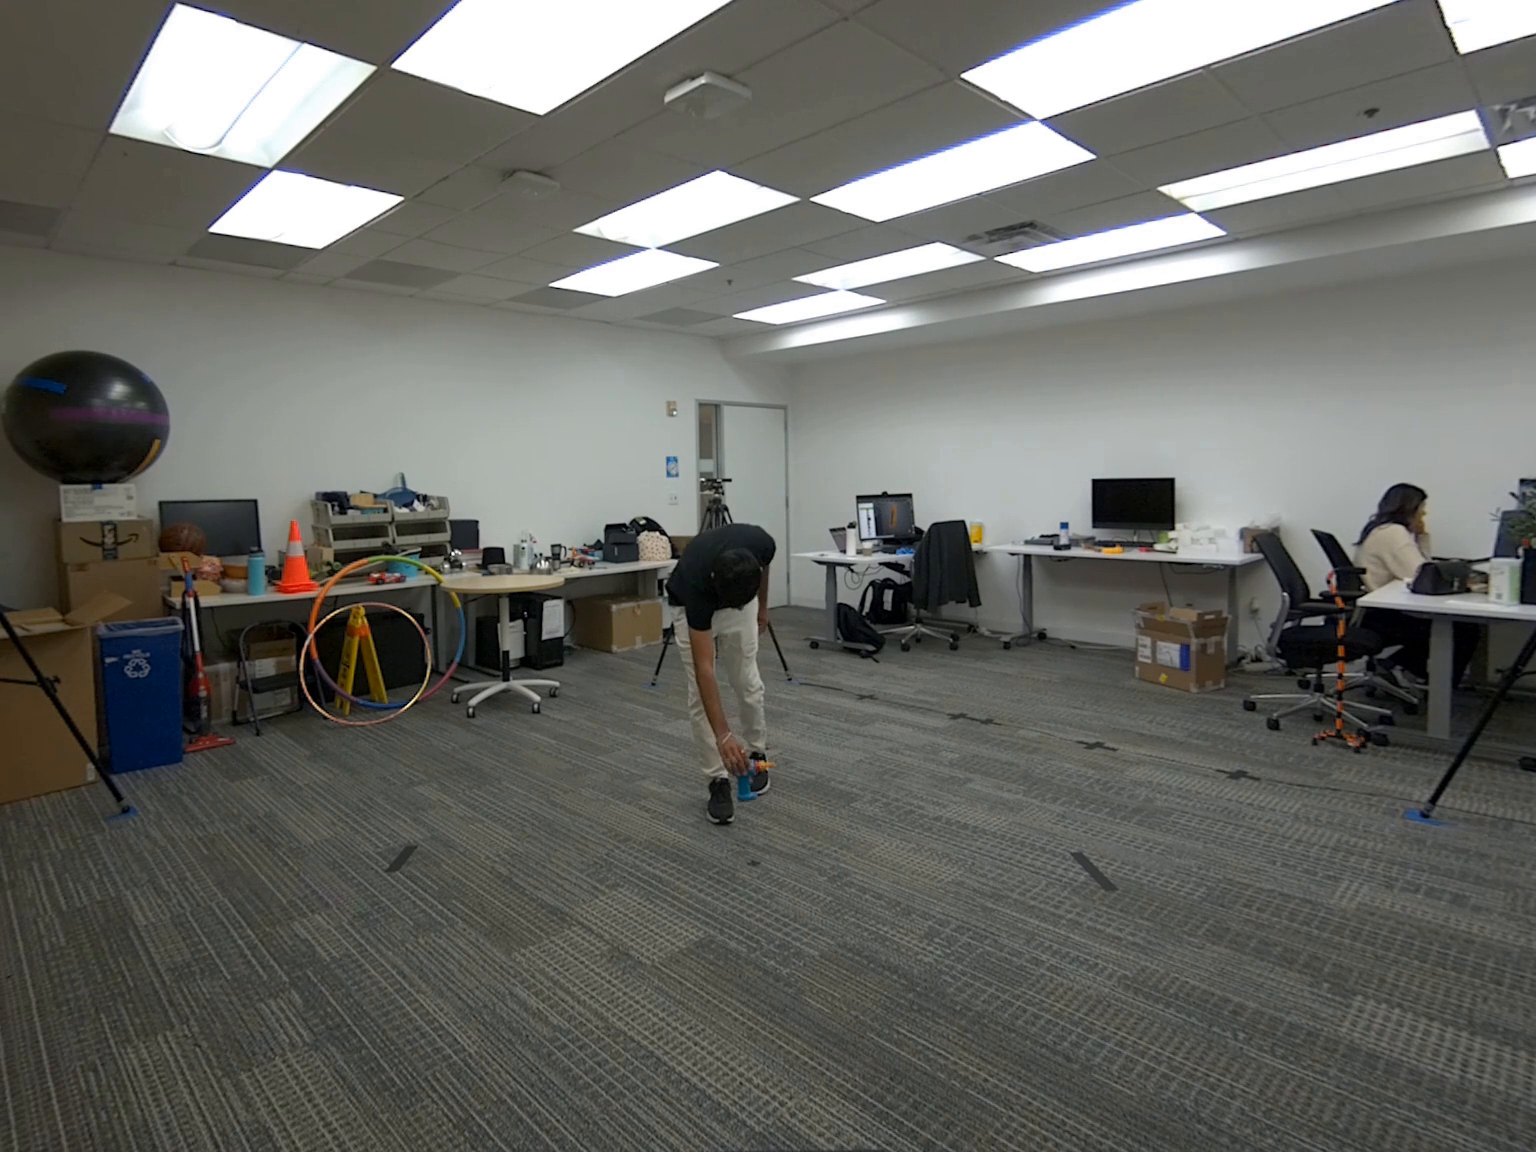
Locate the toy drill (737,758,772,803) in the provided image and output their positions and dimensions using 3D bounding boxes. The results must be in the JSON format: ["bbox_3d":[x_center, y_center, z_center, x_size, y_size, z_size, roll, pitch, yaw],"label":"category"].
[{"bbox_3d":[-0.058,0.708,3.111,0.172,0.146,0.060,1,-3,15],"label":"toy drill"}]
